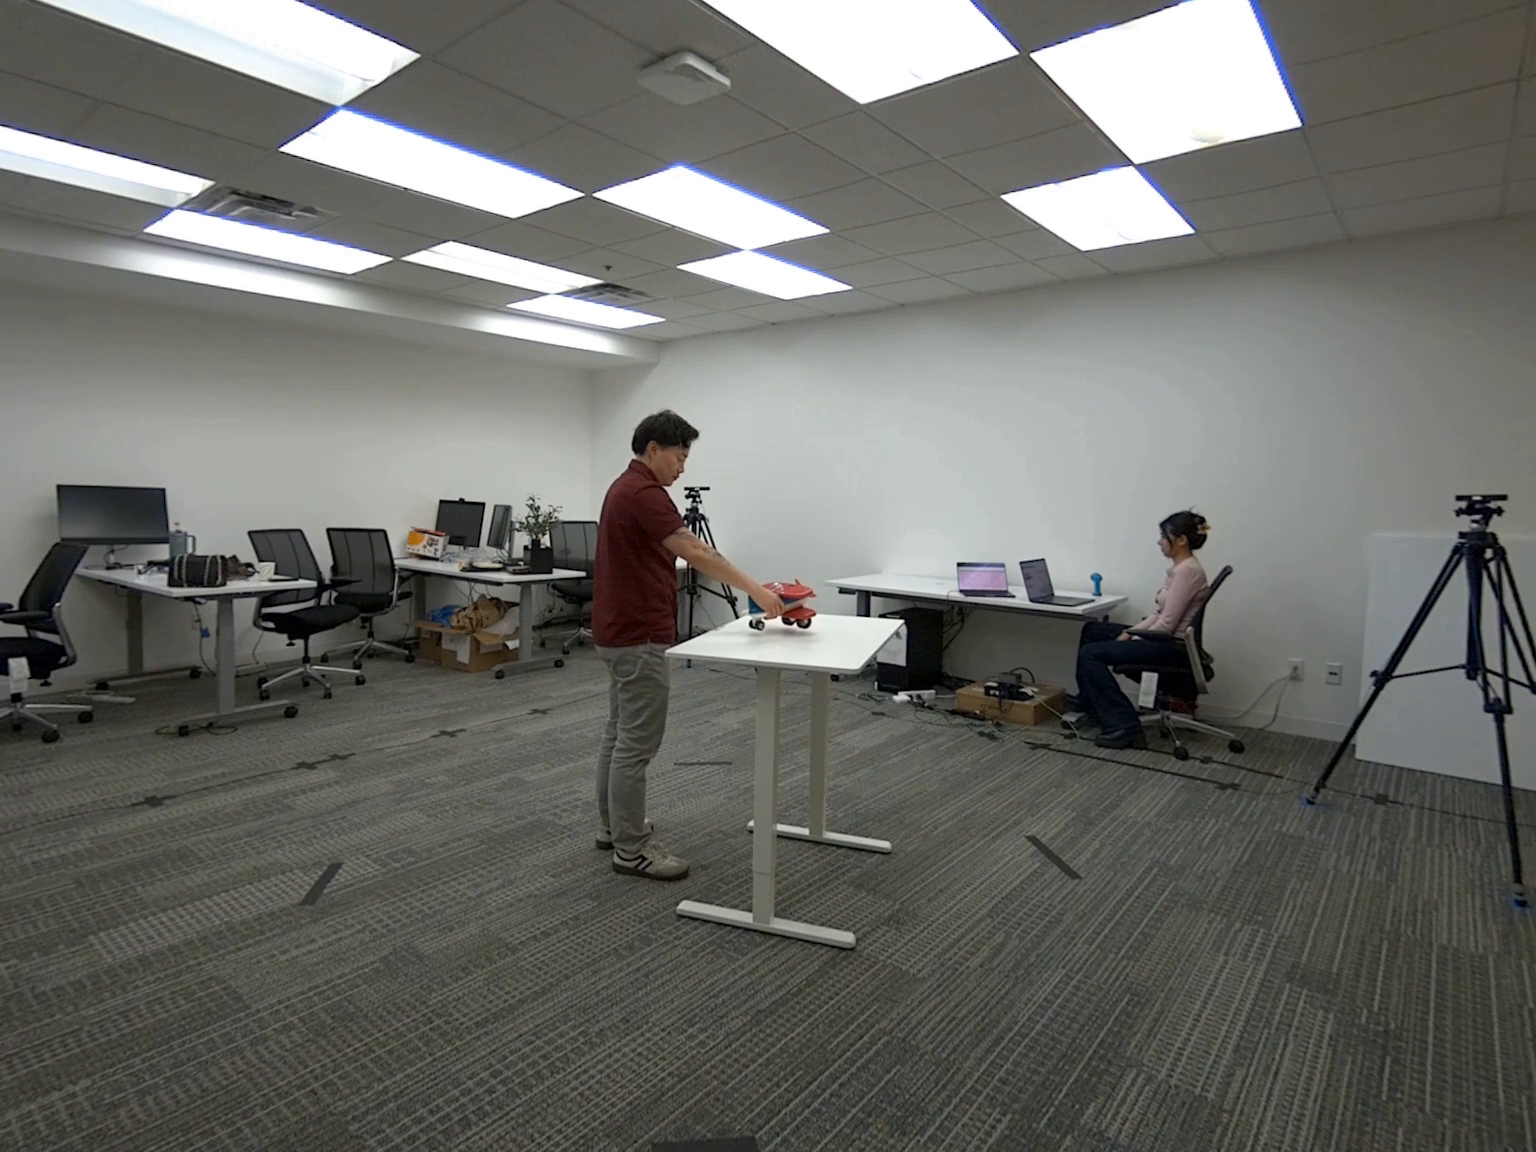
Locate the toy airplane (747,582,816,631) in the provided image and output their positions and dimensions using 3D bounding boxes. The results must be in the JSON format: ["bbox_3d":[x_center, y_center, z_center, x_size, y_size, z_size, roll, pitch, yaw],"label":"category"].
[{"bbox_3d":[0.045,0.106,3.007,0.258,0.156,0.253,5,4,27],"label":"toy airplane"}]
